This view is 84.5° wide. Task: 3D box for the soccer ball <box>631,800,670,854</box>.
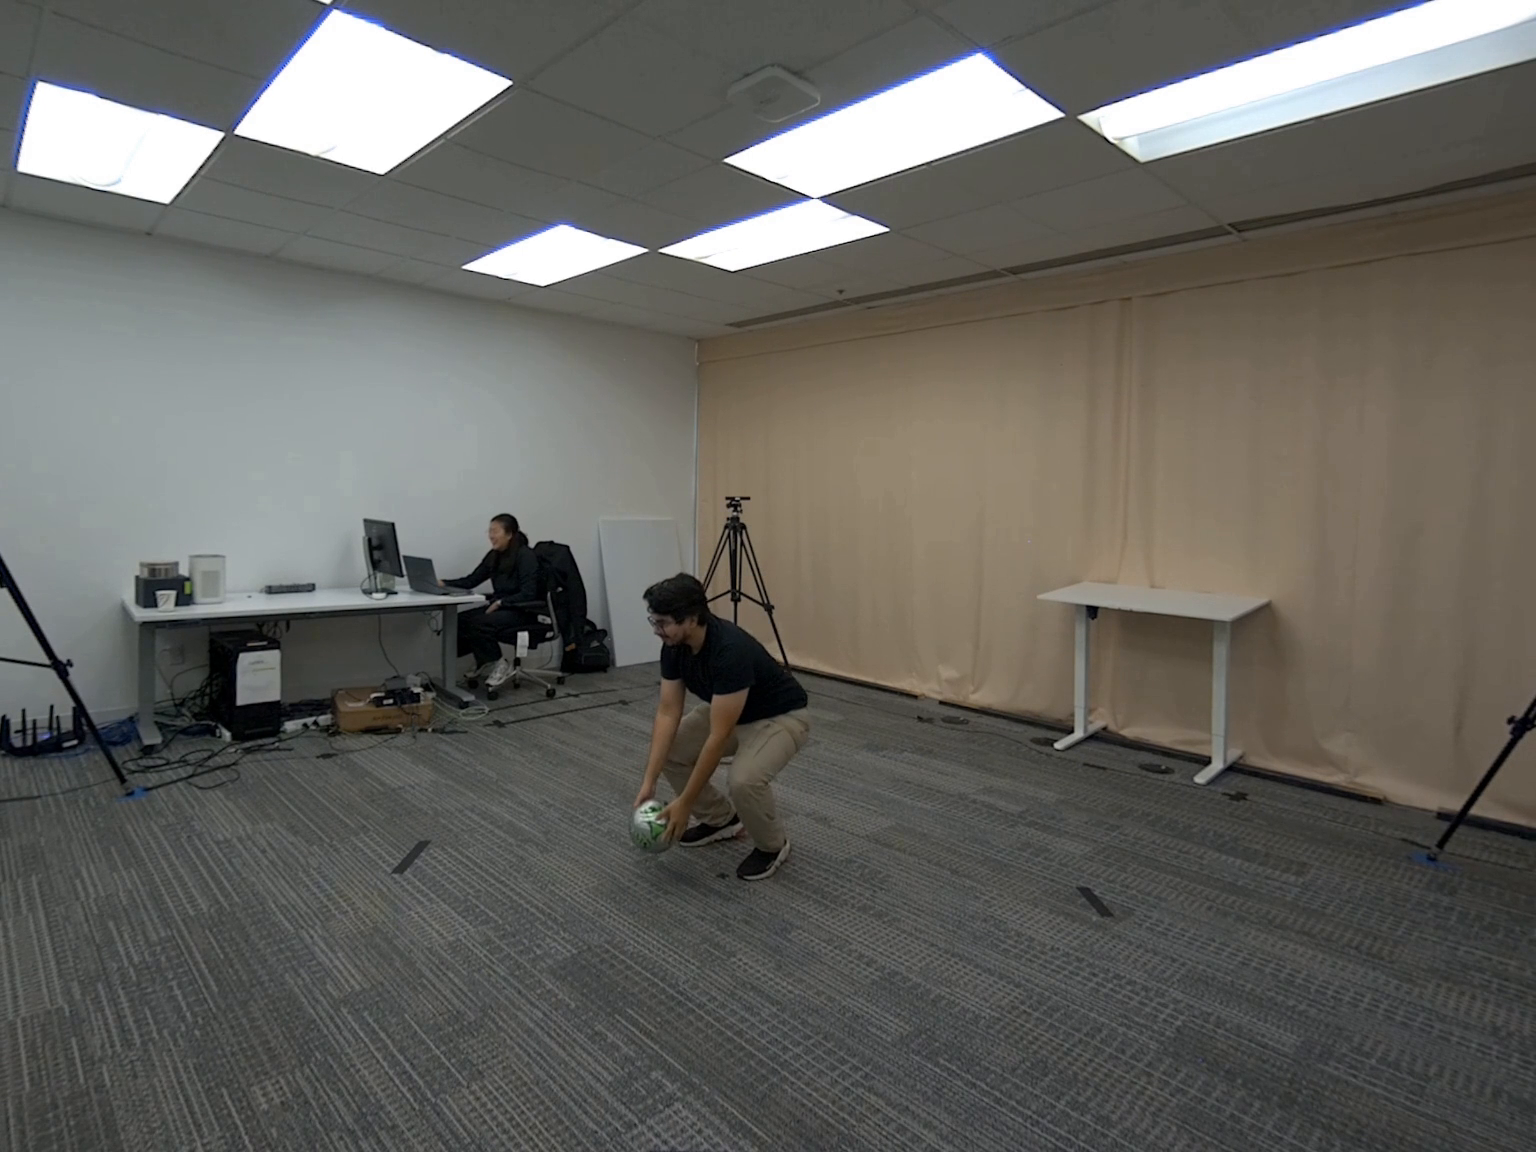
[{"bbox_3d":[-0.412,0.886,3.032,0.187,0.187,0.188,1,4,-1],"label":"soccer ball"}]
